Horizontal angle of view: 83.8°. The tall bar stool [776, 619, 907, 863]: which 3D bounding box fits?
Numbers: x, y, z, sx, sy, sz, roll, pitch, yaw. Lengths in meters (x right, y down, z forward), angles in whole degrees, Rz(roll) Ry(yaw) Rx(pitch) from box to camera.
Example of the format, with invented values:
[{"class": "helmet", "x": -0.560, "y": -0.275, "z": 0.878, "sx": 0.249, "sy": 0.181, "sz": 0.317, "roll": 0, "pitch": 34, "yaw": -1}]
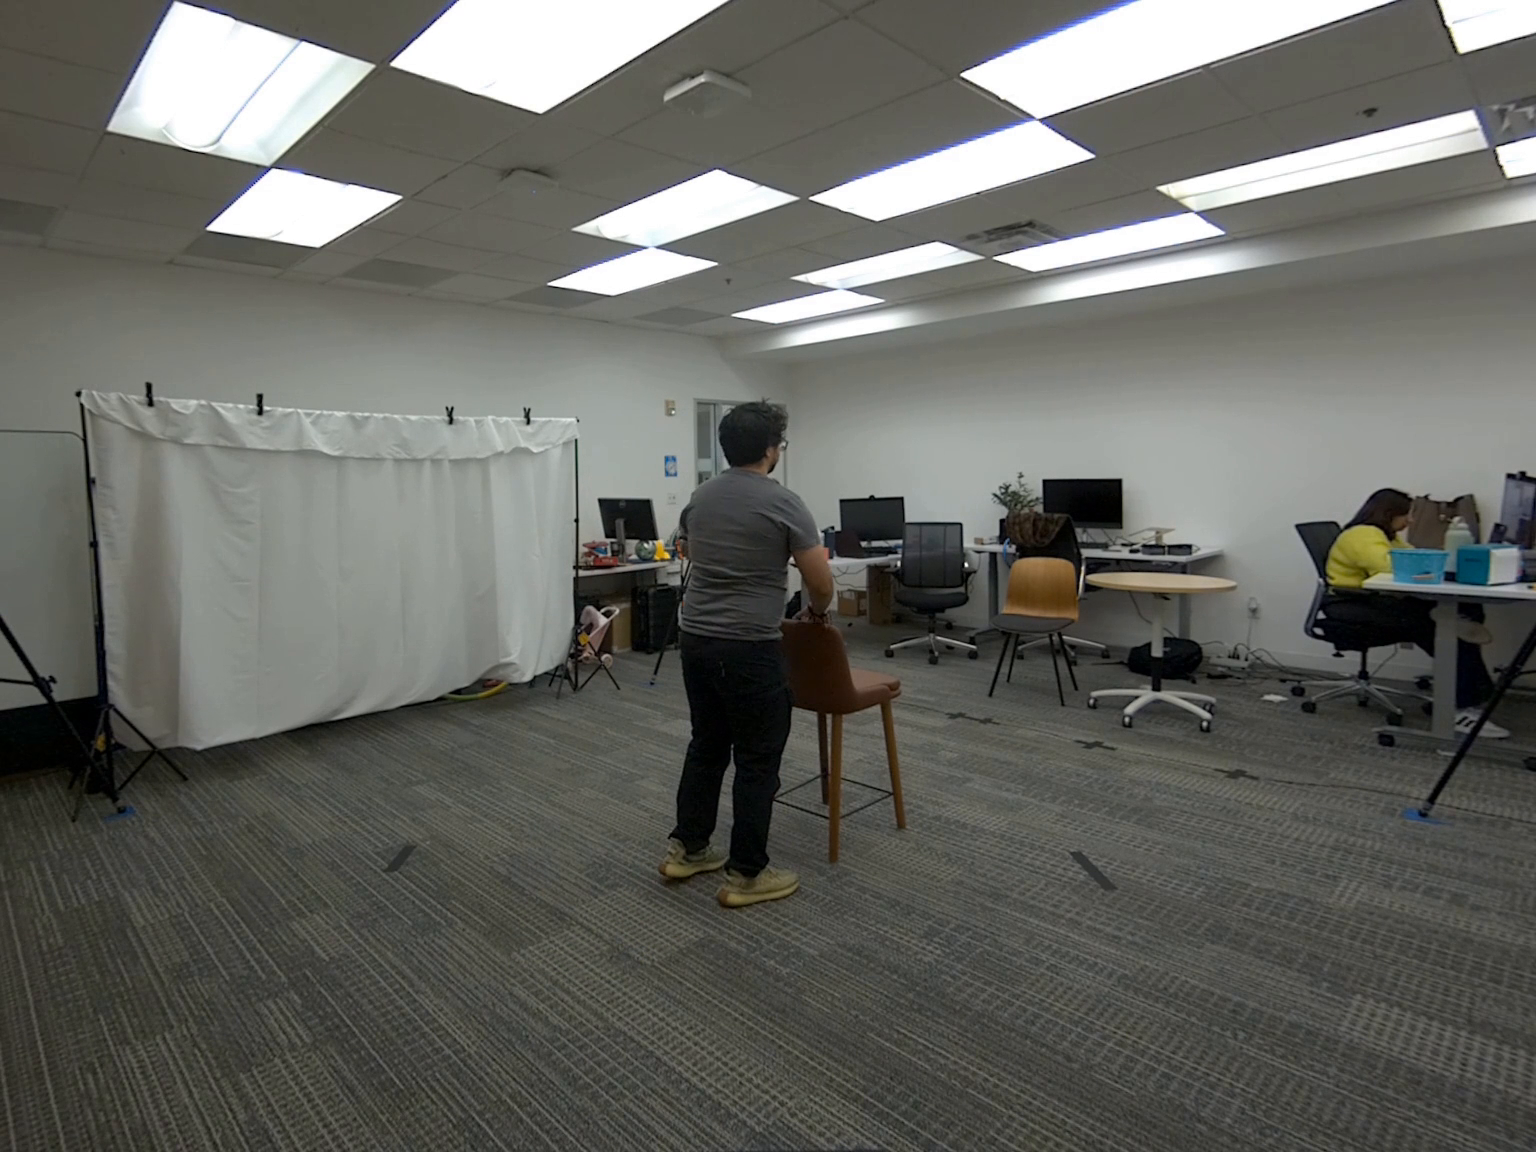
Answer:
[{"class": "tall bar stool", "x": 0.234, "y": 0.571, "z": 3.341, "sx": 0.470, "sy": 0.885, "sz": 0.456, "roll": 3, "pitch": 7, "yaw": 44}]
